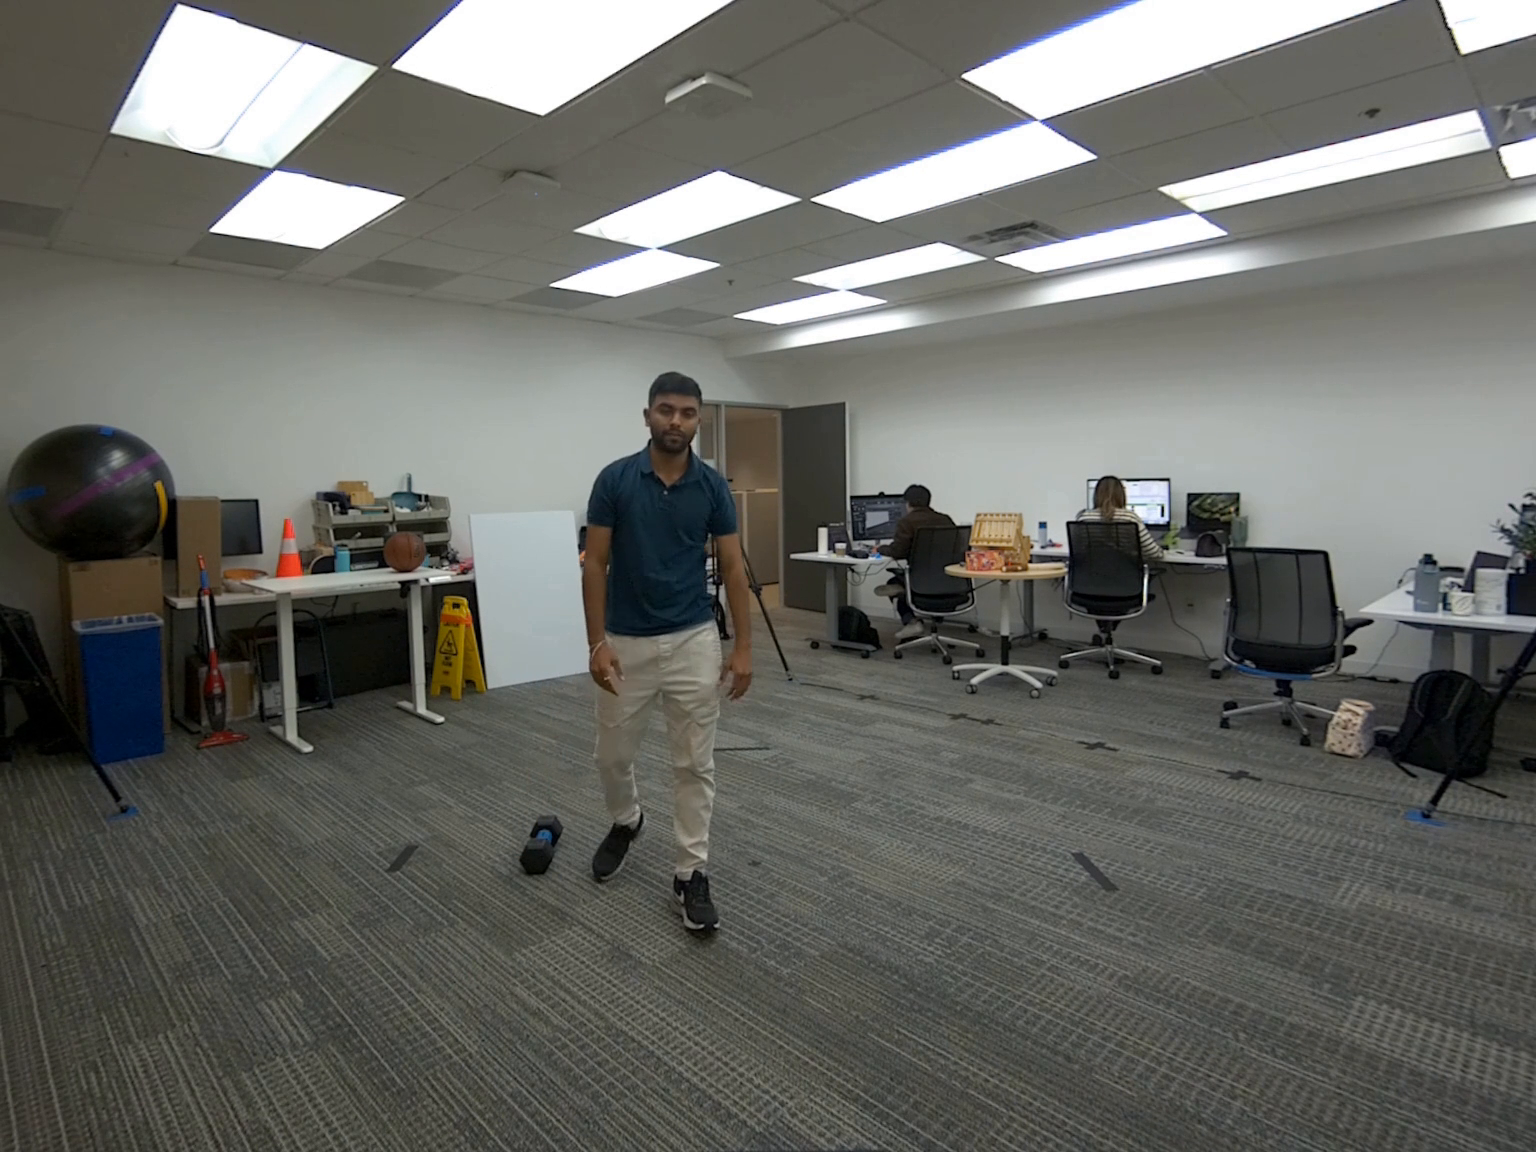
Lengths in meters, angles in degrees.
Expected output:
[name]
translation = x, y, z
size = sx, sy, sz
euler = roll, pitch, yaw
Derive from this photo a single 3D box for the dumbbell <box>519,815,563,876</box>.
[dumbbell]
translation = -0.838, 0.998, 3.185
size = 0.108, 0.123, 0.296
euler = 29, 3, -7
